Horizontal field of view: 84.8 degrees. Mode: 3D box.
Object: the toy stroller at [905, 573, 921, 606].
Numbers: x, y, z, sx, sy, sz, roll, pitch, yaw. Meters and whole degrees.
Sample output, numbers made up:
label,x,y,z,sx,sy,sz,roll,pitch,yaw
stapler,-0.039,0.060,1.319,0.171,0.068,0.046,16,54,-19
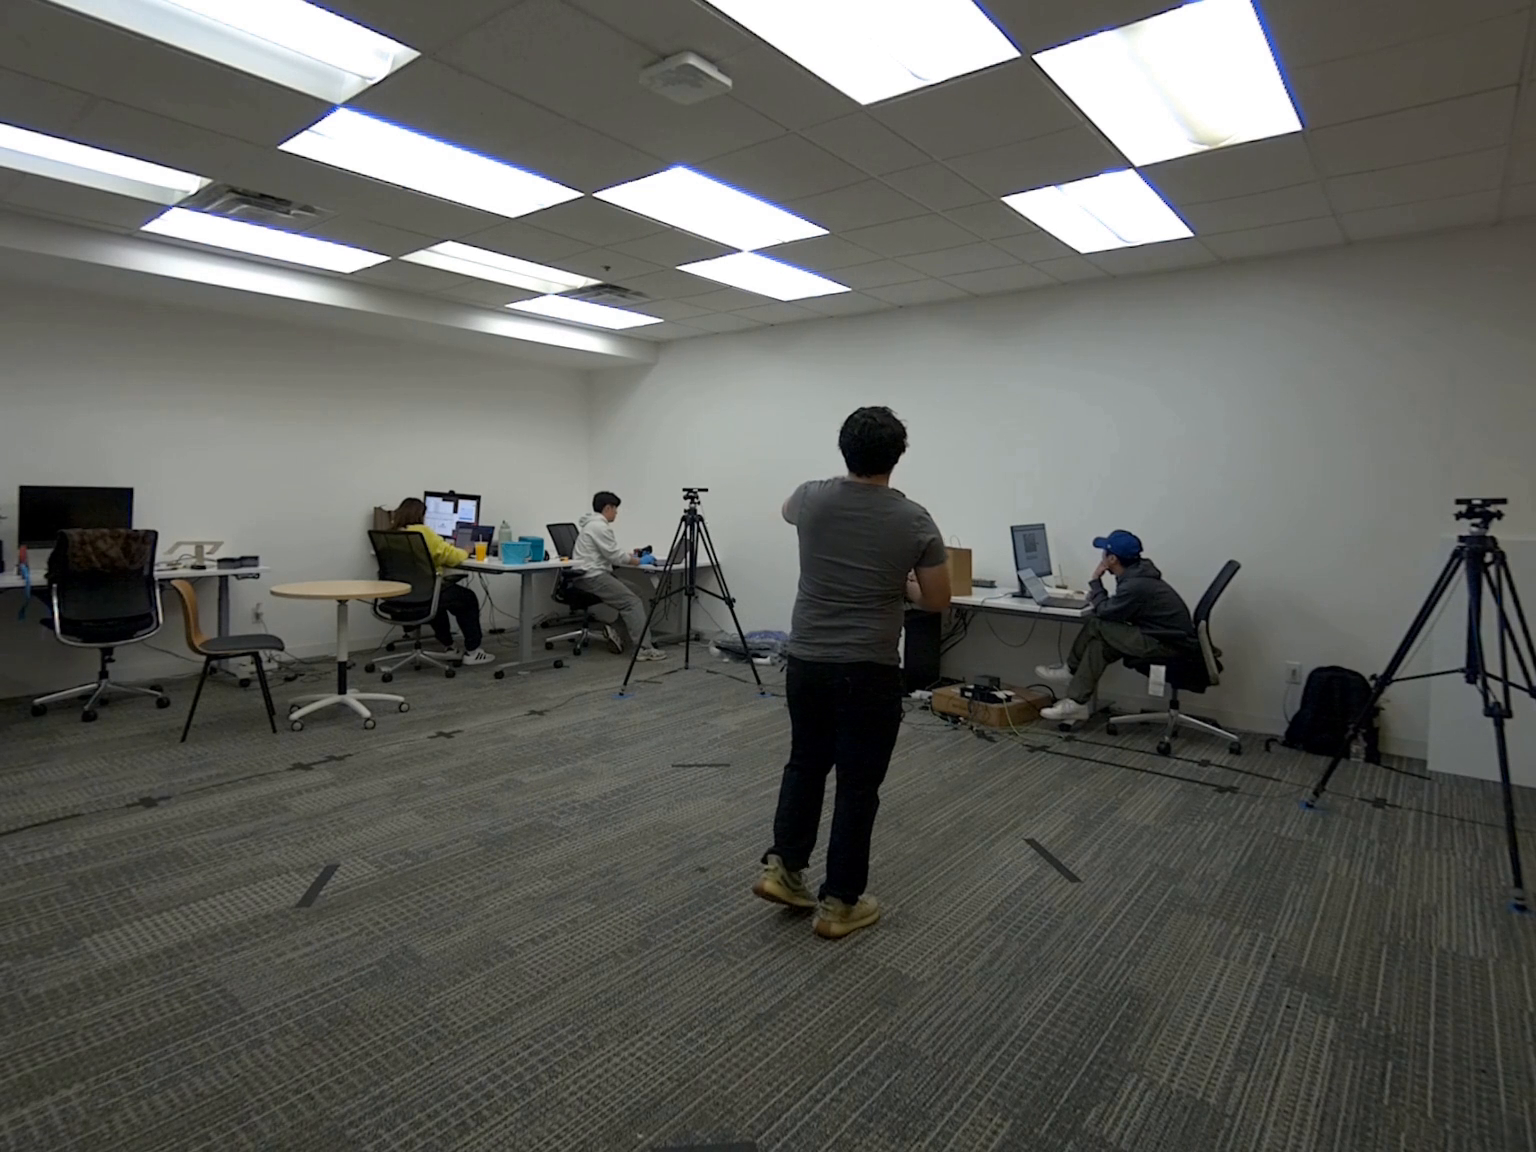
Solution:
label,x,y,z,sx,sy,sz,roll,pitch,yaw
toy stroller,0.347,-0.091,3.197,0.278,0.542,0.341,-20,-10,-18
